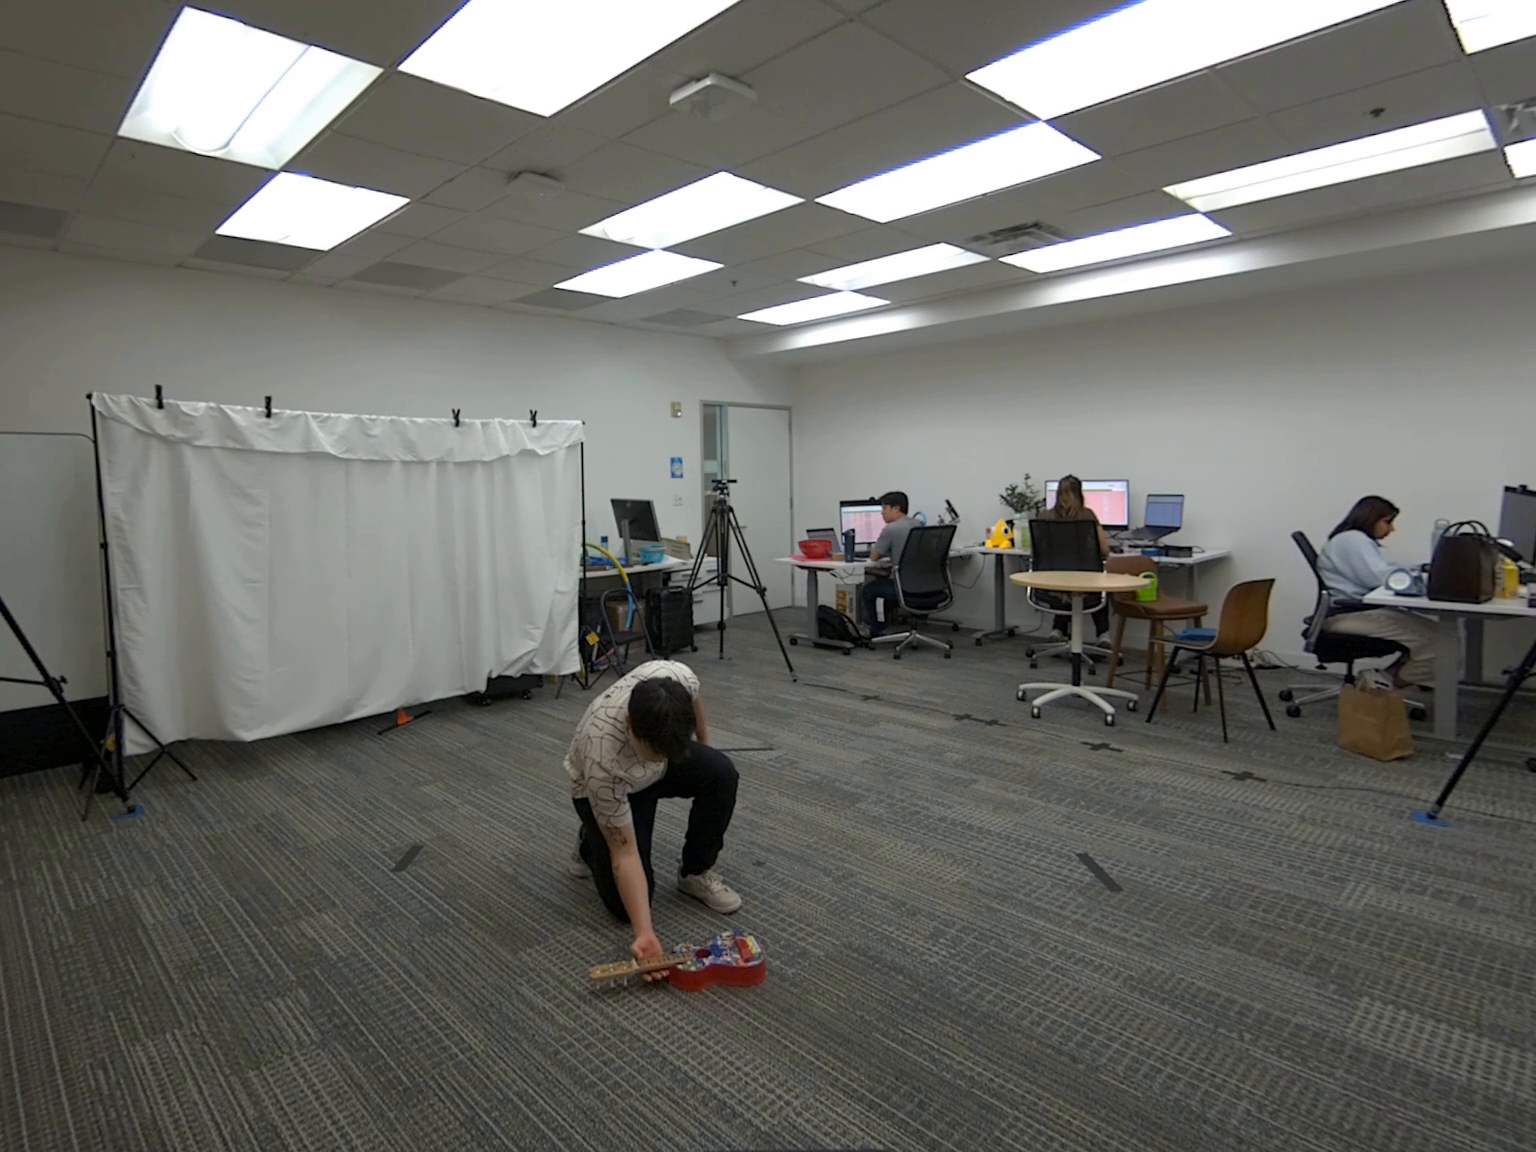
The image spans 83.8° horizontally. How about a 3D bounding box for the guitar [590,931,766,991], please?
[{"bbox_3d":[-0.263,1.099,2.429,0.494,0.070,0.195,-2,6,-7],"label":"guitar"}]
